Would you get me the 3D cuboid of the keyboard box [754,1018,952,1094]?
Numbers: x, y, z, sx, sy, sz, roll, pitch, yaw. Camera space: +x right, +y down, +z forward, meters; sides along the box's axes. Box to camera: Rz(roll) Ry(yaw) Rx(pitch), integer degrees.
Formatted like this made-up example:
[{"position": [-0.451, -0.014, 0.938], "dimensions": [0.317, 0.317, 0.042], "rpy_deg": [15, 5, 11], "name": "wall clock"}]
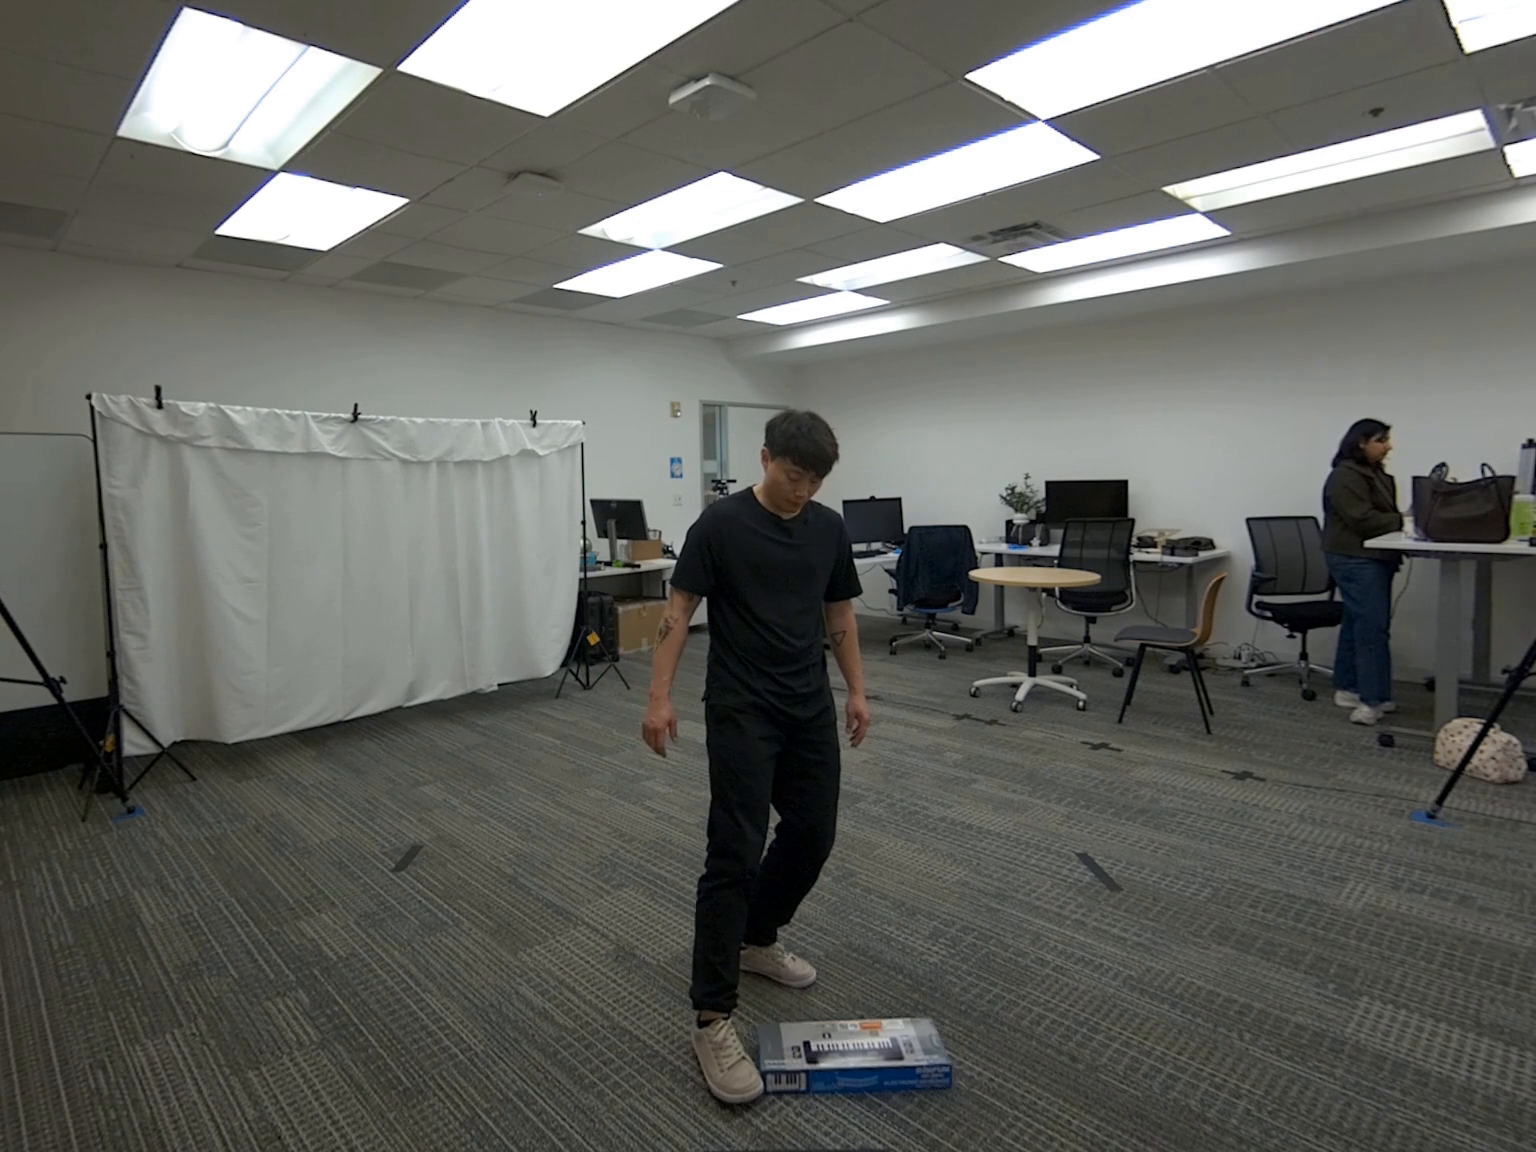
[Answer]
[{"position": [0.196, 1.132, 2.036], "dimensions": [0.436, 0.059, 0.177], "rpy_deg": [-2, 6, -2], "name": "keyboard box"}]
